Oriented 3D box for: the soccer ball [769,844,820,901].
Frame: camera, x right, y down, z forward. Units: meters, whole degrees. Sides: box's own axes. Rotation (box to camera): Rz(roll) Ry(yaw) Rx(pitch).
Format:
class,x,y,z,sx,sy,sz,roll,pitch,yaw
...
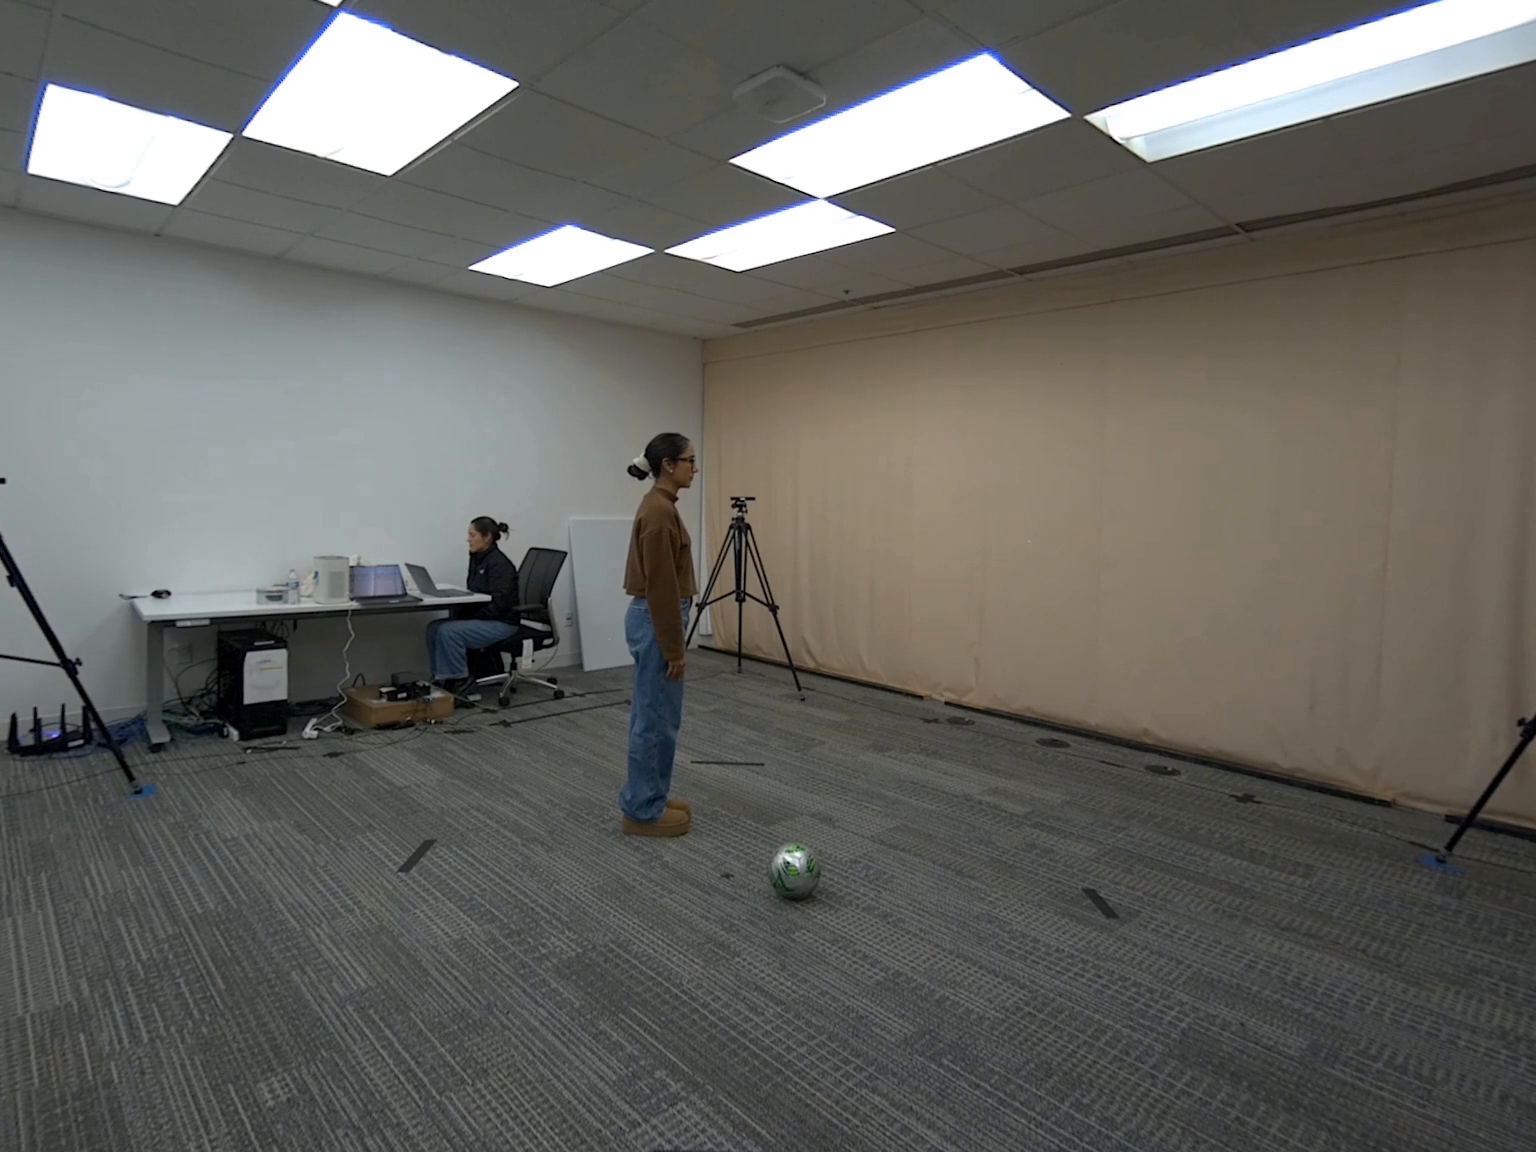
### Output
class,x,y,z,sx,sy,sz,roll,pitch,yaw
soccer ball,0.086,1.033,2.949,0.187,0.187,0.188,1,4,-1
